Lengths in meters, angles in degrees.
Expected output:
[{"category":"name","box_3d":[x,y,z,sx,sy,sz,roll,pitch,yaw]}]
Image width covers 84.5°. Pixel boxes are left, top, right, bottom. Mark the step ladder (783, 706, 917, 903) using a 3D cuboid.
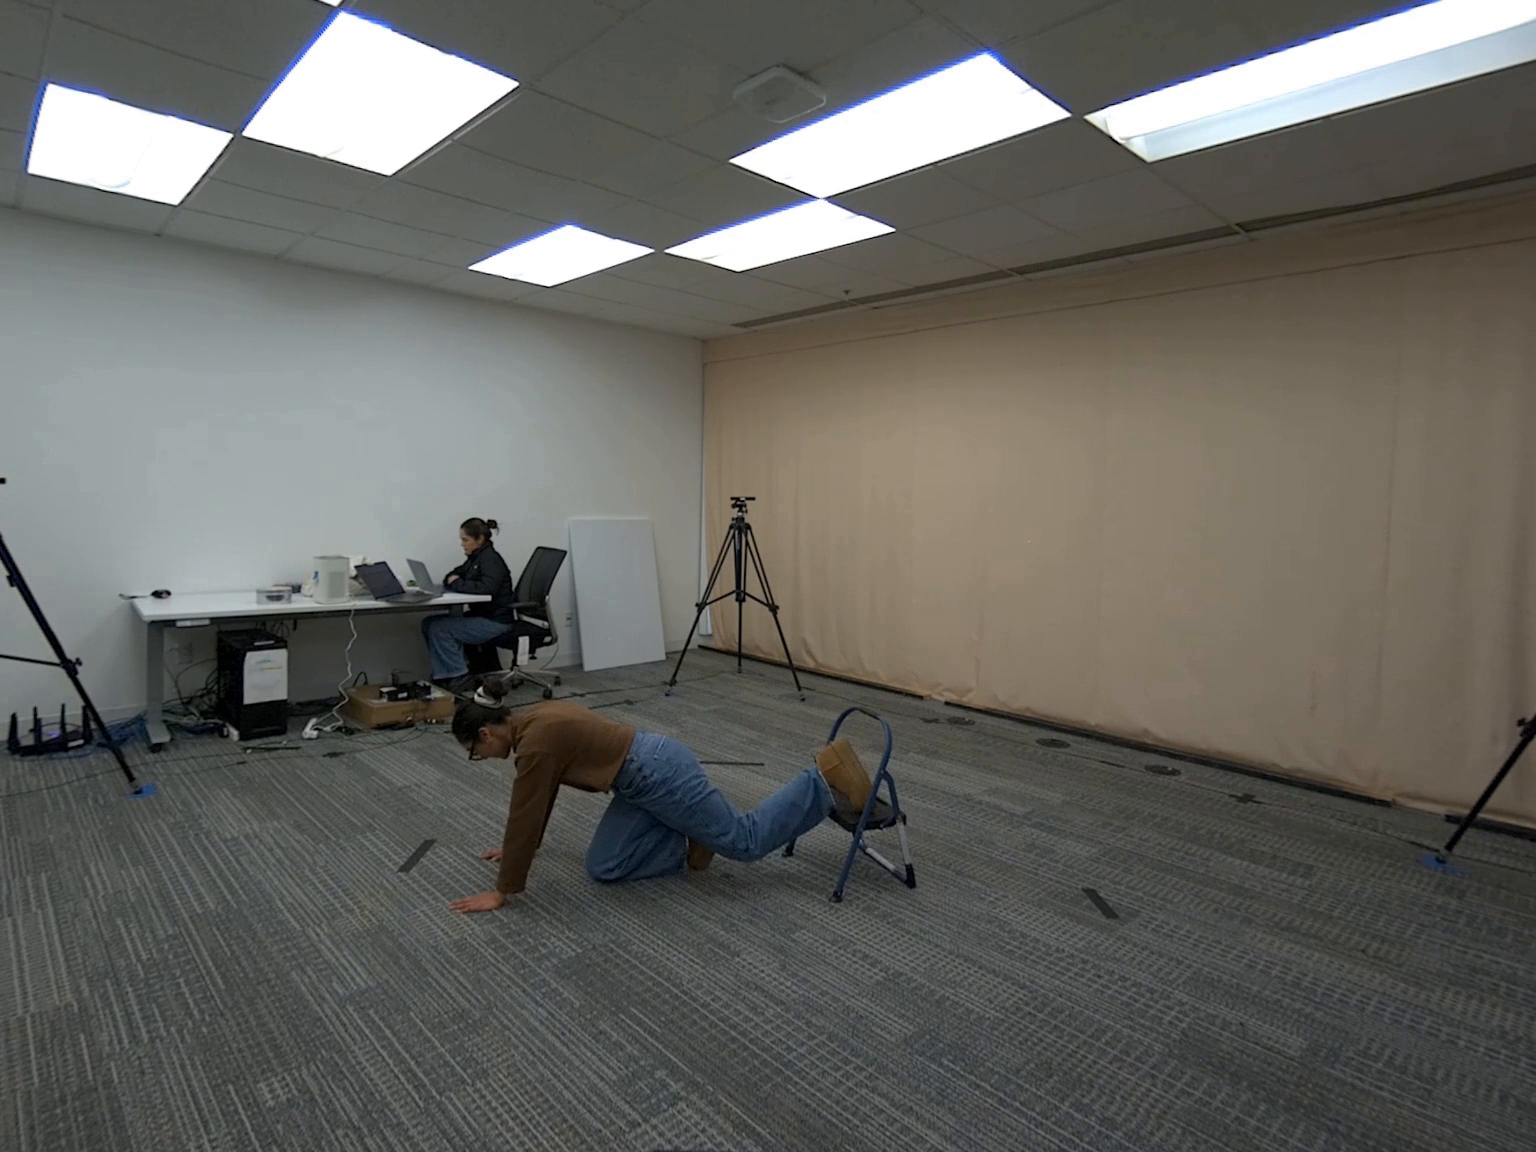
[{"category":"step ladder","box_3d":[0.304,0.814,3.156,0.343,0.605,0.439,0,4,-24]}]
